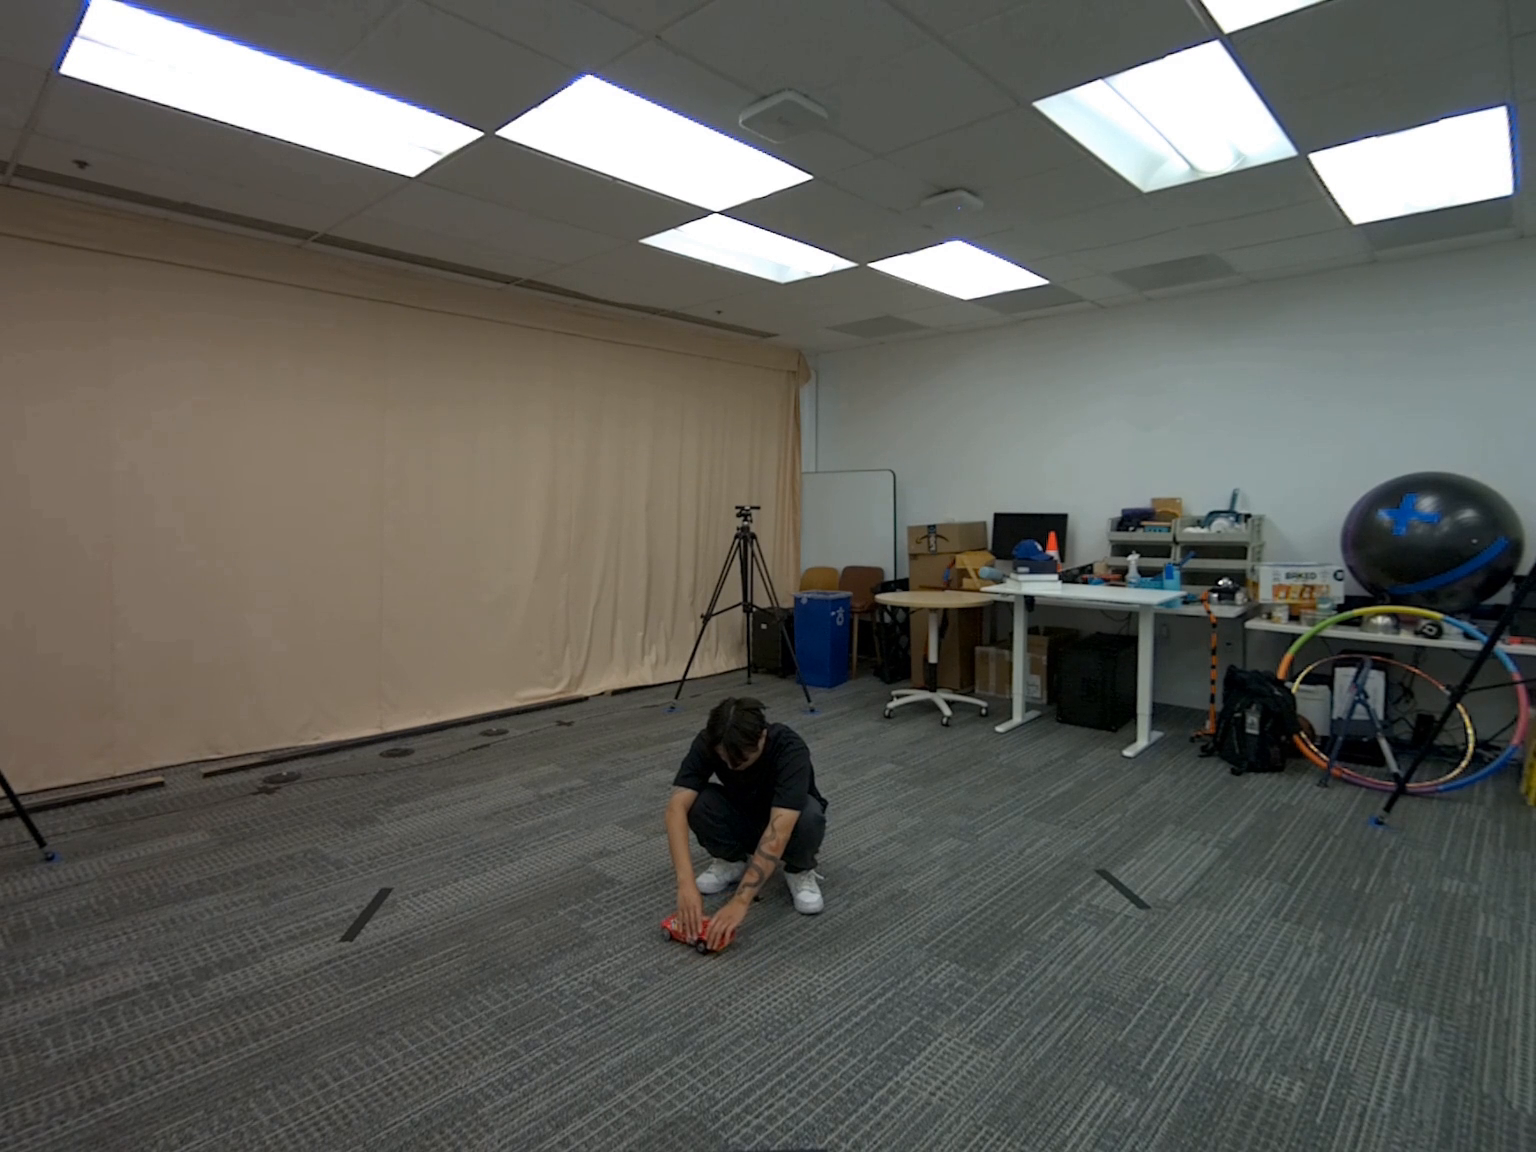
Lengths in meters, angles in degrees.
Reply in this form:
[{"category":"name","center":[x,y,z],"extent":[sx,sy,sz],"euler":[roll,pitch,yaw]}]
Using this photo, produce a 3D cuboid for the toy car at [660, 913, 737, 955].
[{"category":"toy car","center":[-0.218,1.139,2.689],"extent":[0.261,0.083,0.126],"euler":[-7,-1,33]}]
